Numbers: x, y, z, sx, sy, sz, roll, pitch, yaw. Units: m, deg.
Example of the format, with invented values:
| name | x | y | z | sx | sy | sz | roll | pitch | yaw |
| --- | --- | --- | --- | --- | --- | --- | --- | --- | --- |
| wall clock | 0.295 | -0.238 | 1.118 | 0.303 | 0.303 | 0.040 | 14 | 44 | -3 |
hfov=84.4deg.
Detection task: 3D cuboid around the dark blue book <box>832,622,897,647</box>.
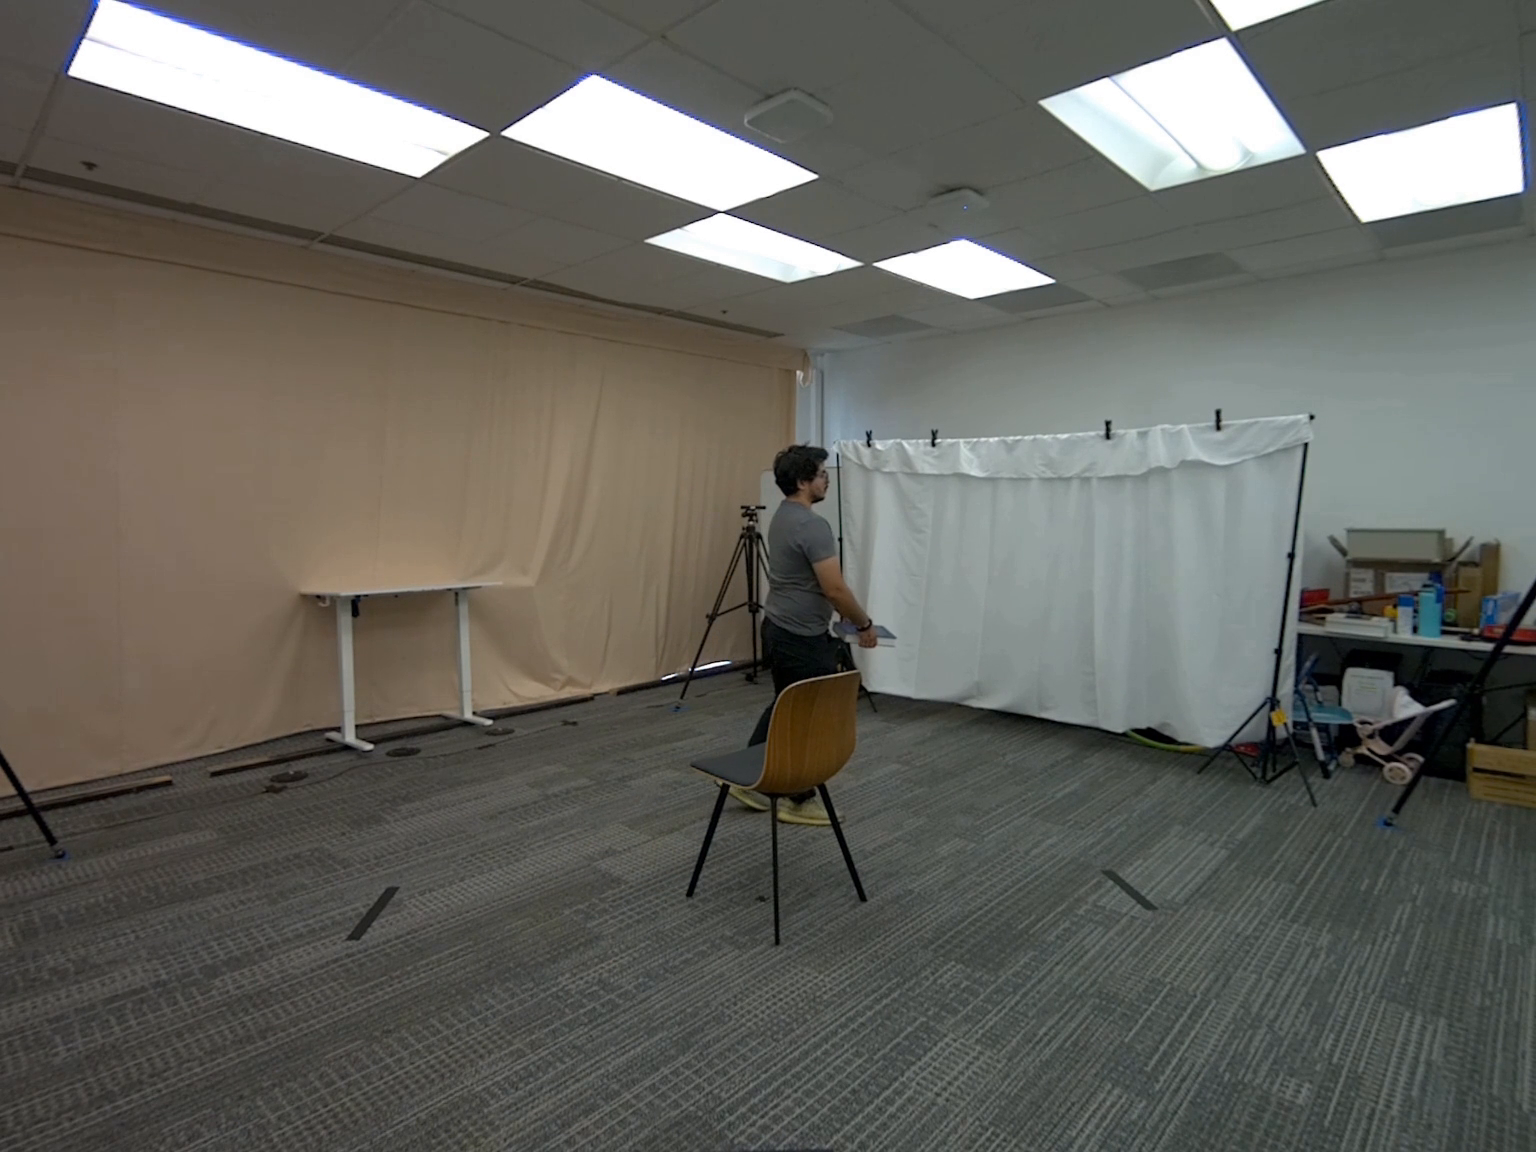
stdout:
| name | x | y | z | sx | sy | sz | roll | pitch | yaw |
| --- | --- | --- | --- | --- | --- | --- | --- | --- | --- |
| dark blue book | 0.434 | 0.262 | 3.782 | 0.241 | 0.045 | 0.167 | 6 | 15 | -15 |
